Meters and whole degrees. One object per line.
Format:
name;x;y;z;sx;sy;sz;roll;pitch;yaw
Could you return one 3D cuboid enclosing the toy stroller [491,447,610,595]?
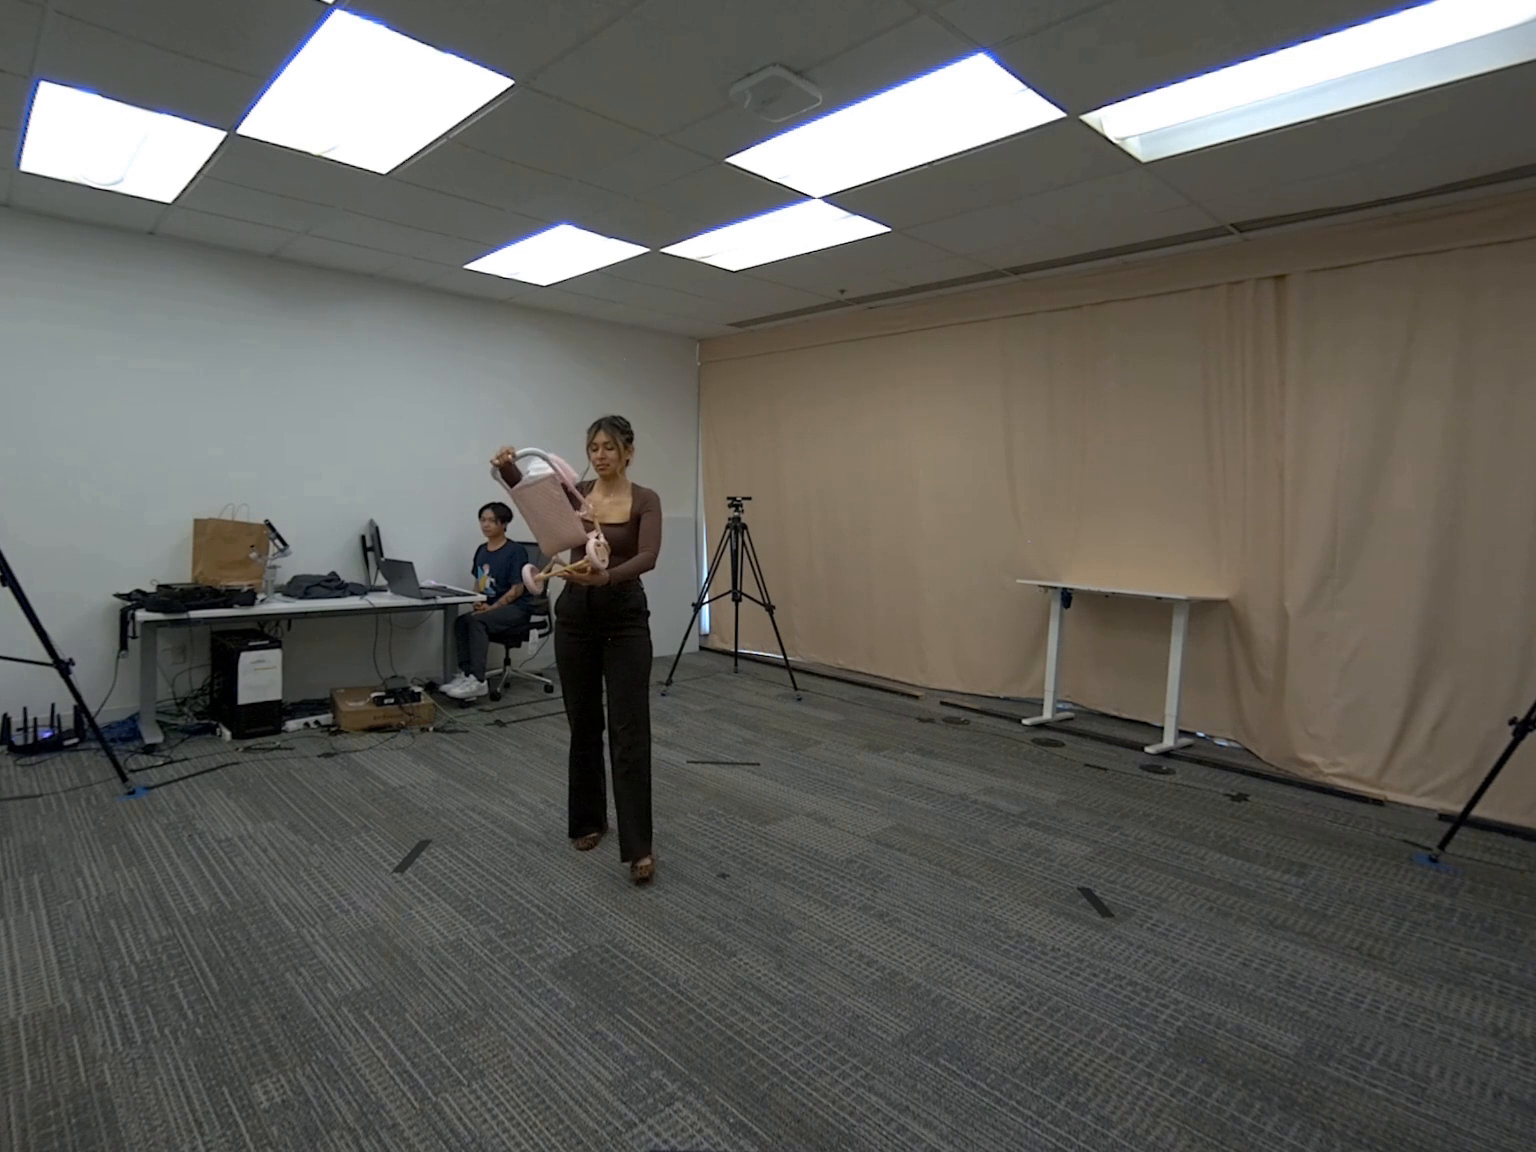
toy stroller;-0.730;-0.189;2.905;0.284;0.532;0.340;-19;7;17
